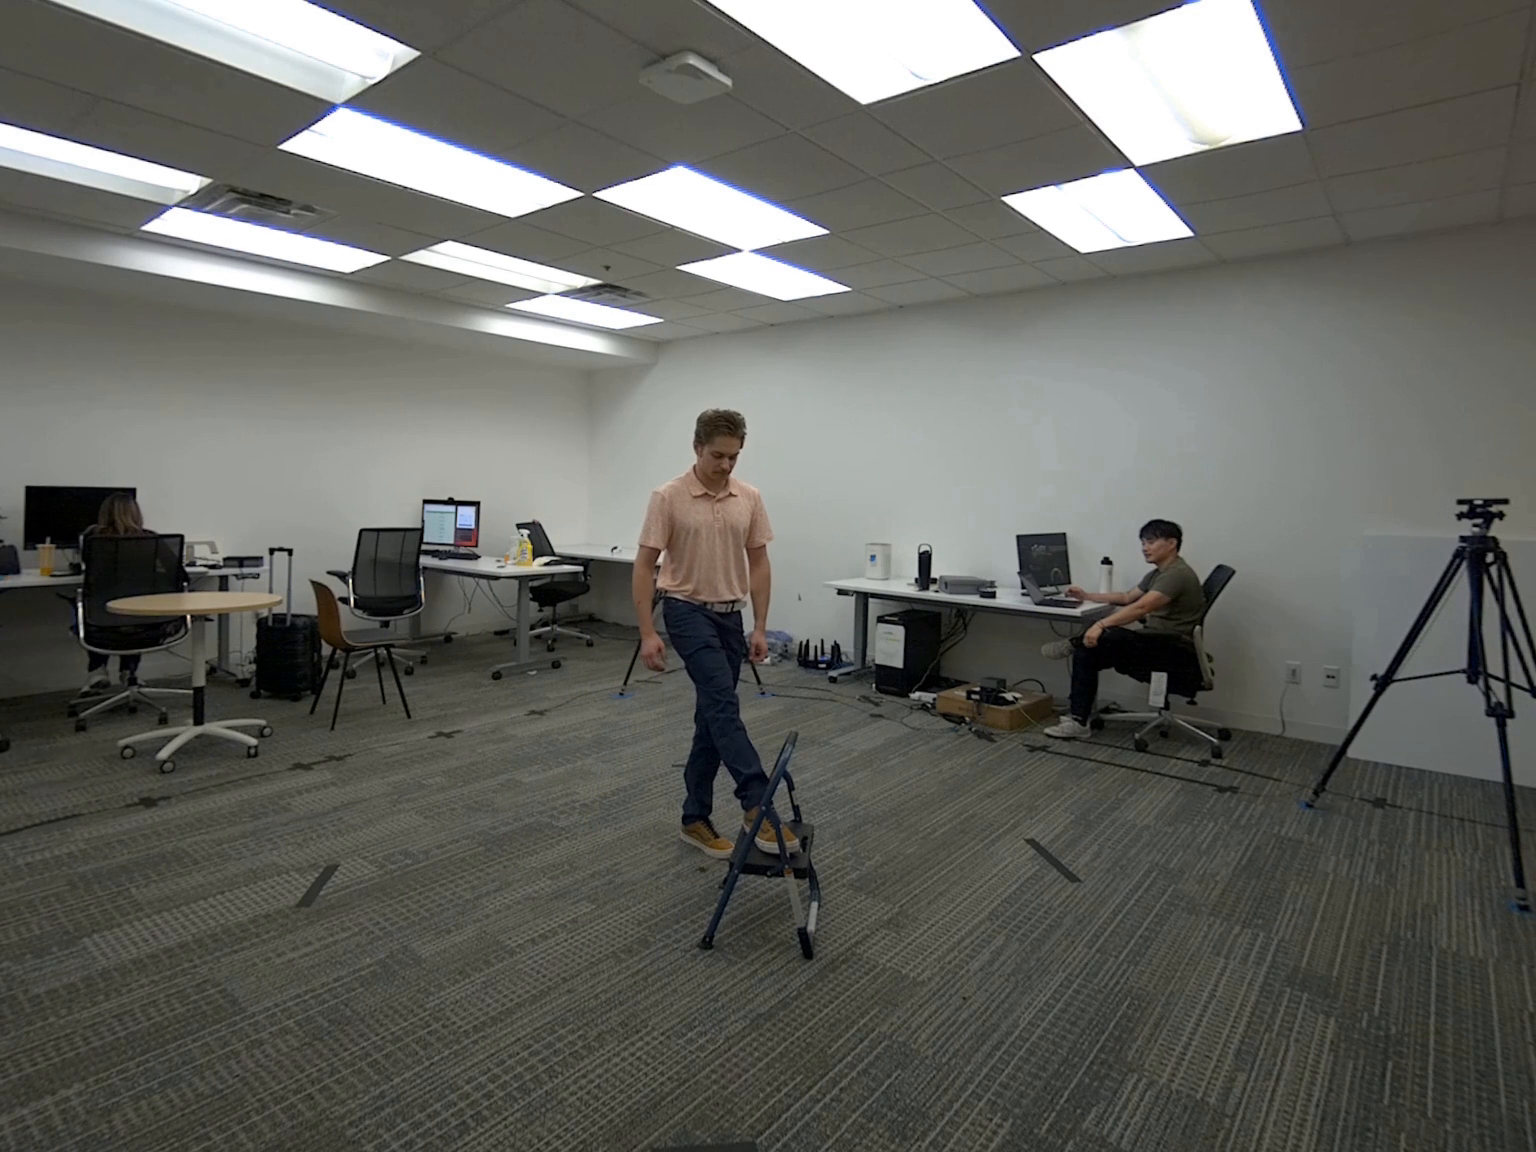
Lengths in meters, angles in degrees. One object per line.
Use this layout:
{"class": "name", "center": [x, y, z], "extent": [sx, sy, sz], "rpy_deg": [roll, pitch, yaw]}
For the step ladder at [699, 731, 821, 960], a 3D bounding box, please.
{"class": "step ladder", "center": [-0.008, 0.811, 2.731], "extent": [0.352, 0.604, 0.428], "rpy_deg": [2, 4, 6]}
